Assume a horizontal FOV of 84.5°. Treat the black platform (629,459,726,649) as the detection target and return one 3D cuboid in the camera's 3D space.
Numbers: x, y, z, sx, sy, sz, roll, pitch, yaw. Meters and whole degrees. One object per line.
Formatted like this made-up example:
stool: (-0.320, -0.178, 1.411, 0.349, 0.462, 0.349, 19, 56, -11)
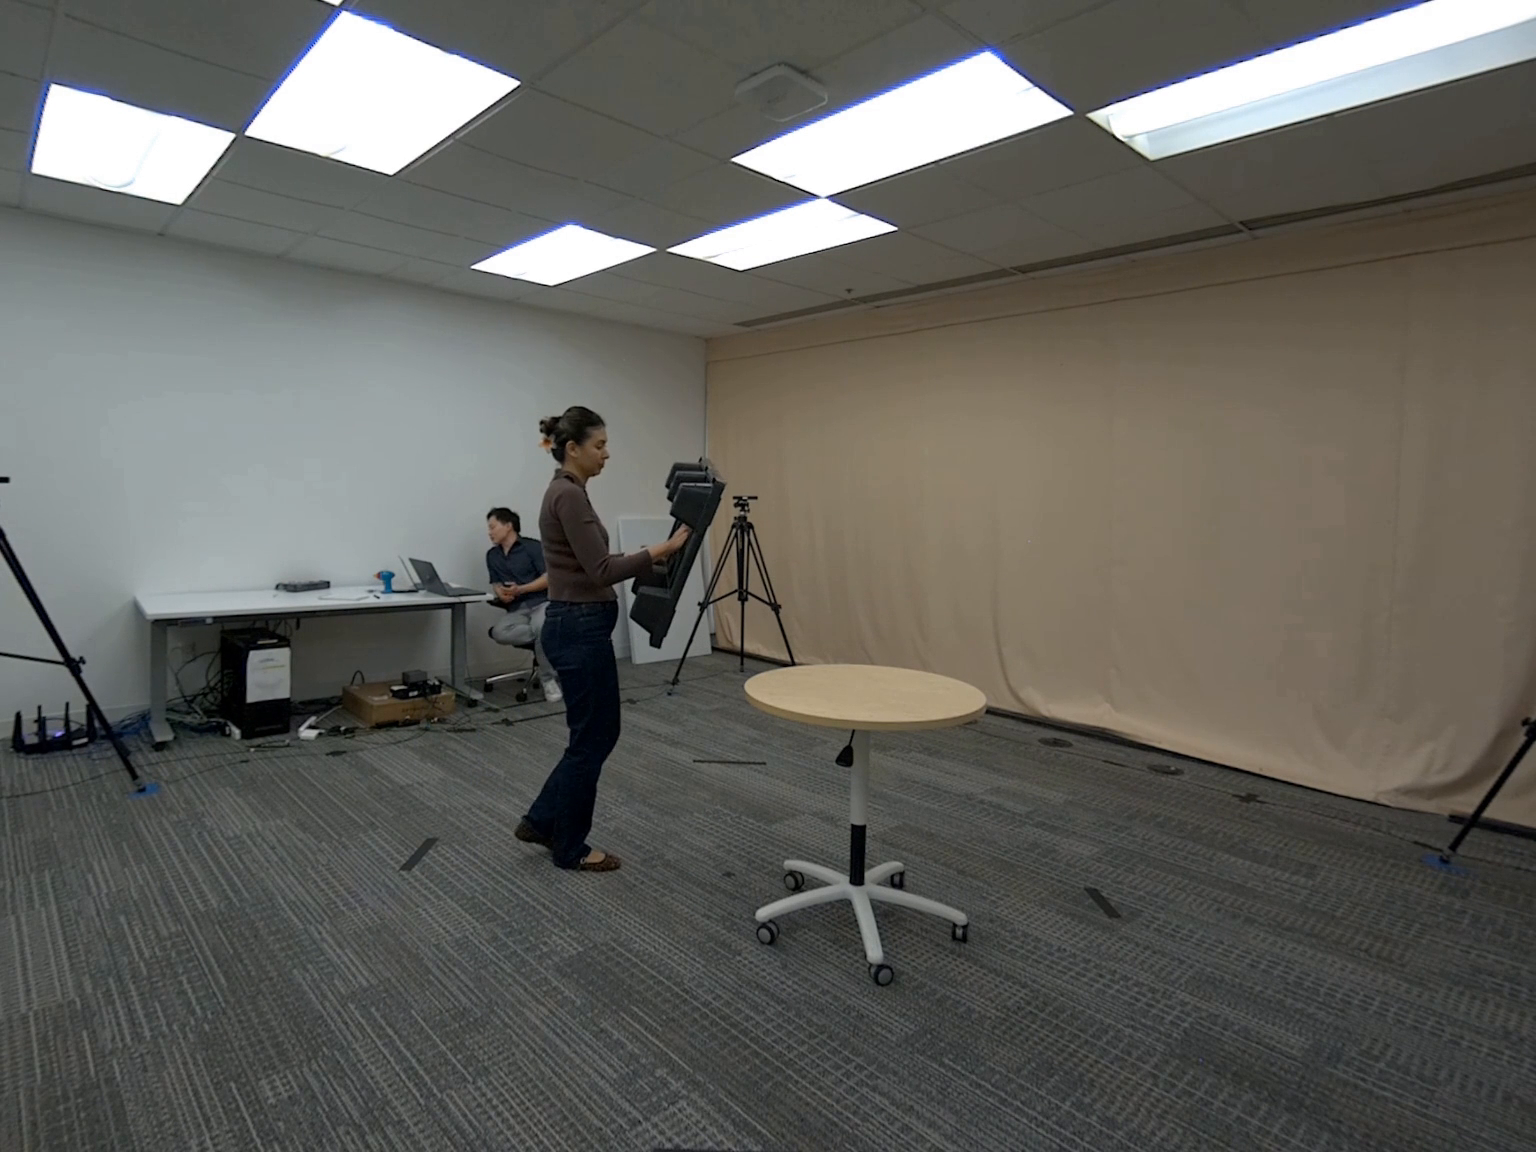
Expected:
black platform: (-0.367, -0.135, 3.114, 0.142, 0.603, 0.817, 20, 9, -12)
